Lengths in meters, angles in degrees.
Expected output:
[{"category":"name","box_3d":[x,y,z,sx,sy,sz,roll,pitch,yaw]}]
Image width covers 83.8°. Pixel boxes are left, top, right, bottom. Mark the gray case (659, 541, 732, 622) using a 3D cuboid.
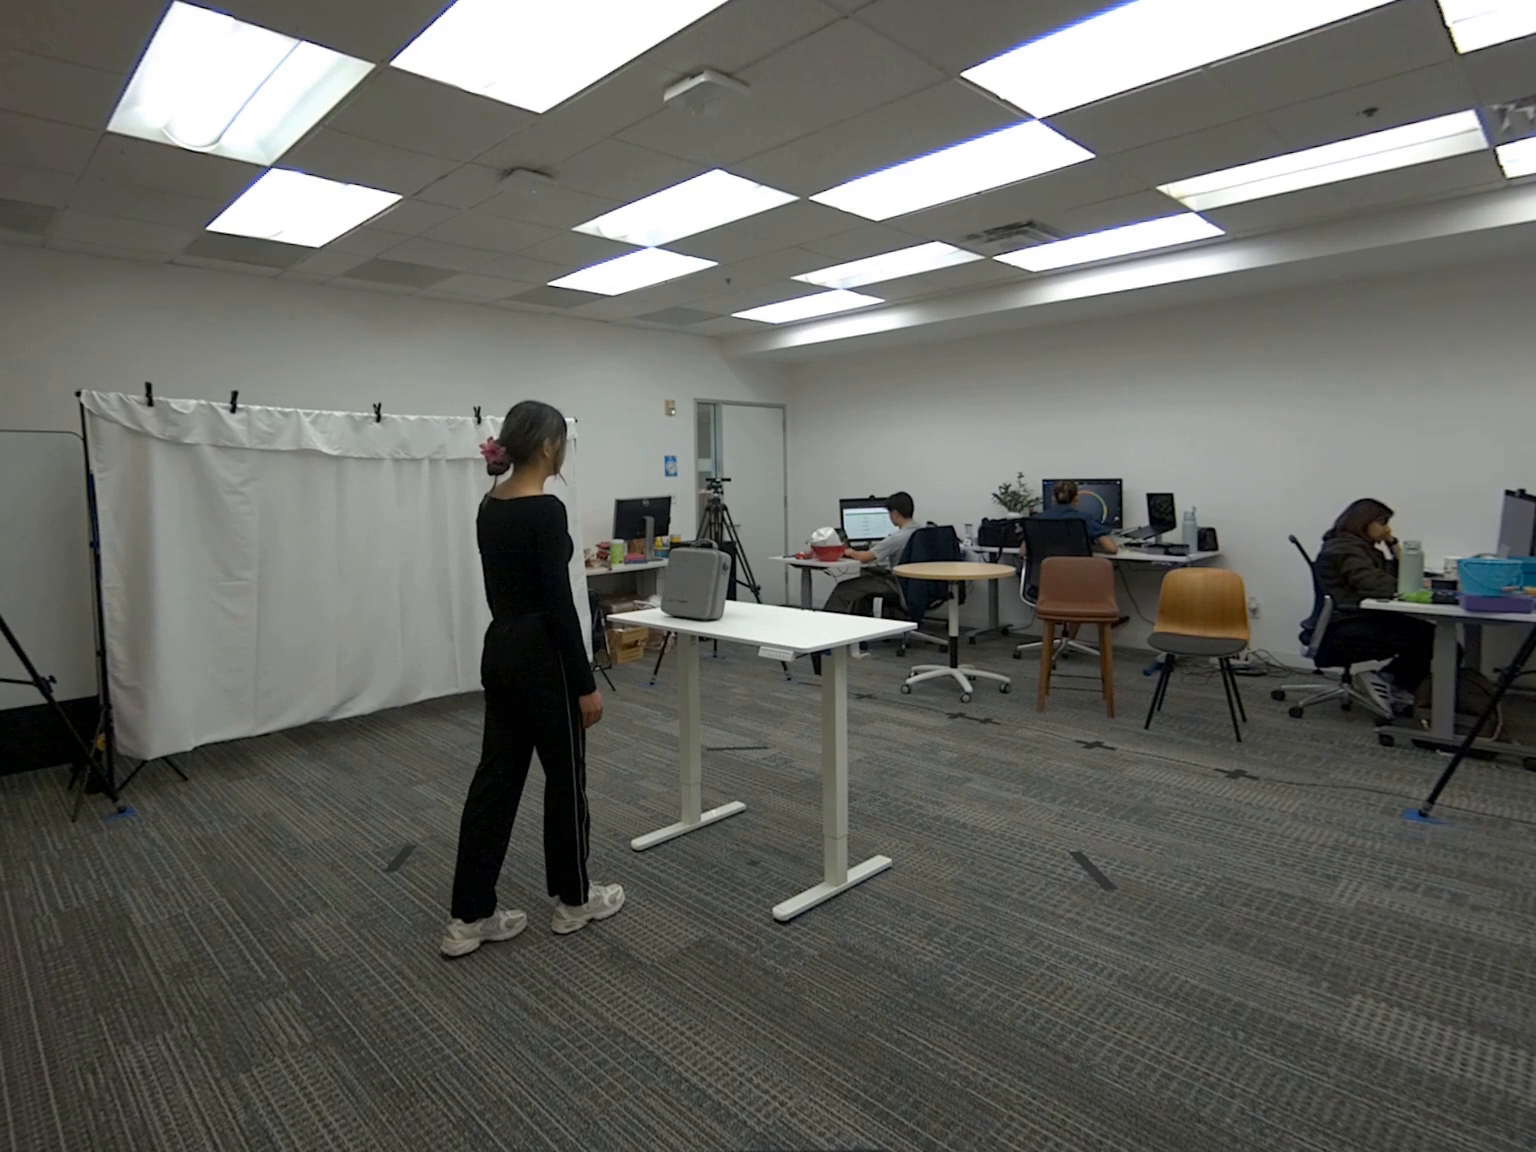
[{"category":"gray case","box_3d":[-0.267,0.026,3.172,0.265,0.262,0.101,4,-6,43]}]
